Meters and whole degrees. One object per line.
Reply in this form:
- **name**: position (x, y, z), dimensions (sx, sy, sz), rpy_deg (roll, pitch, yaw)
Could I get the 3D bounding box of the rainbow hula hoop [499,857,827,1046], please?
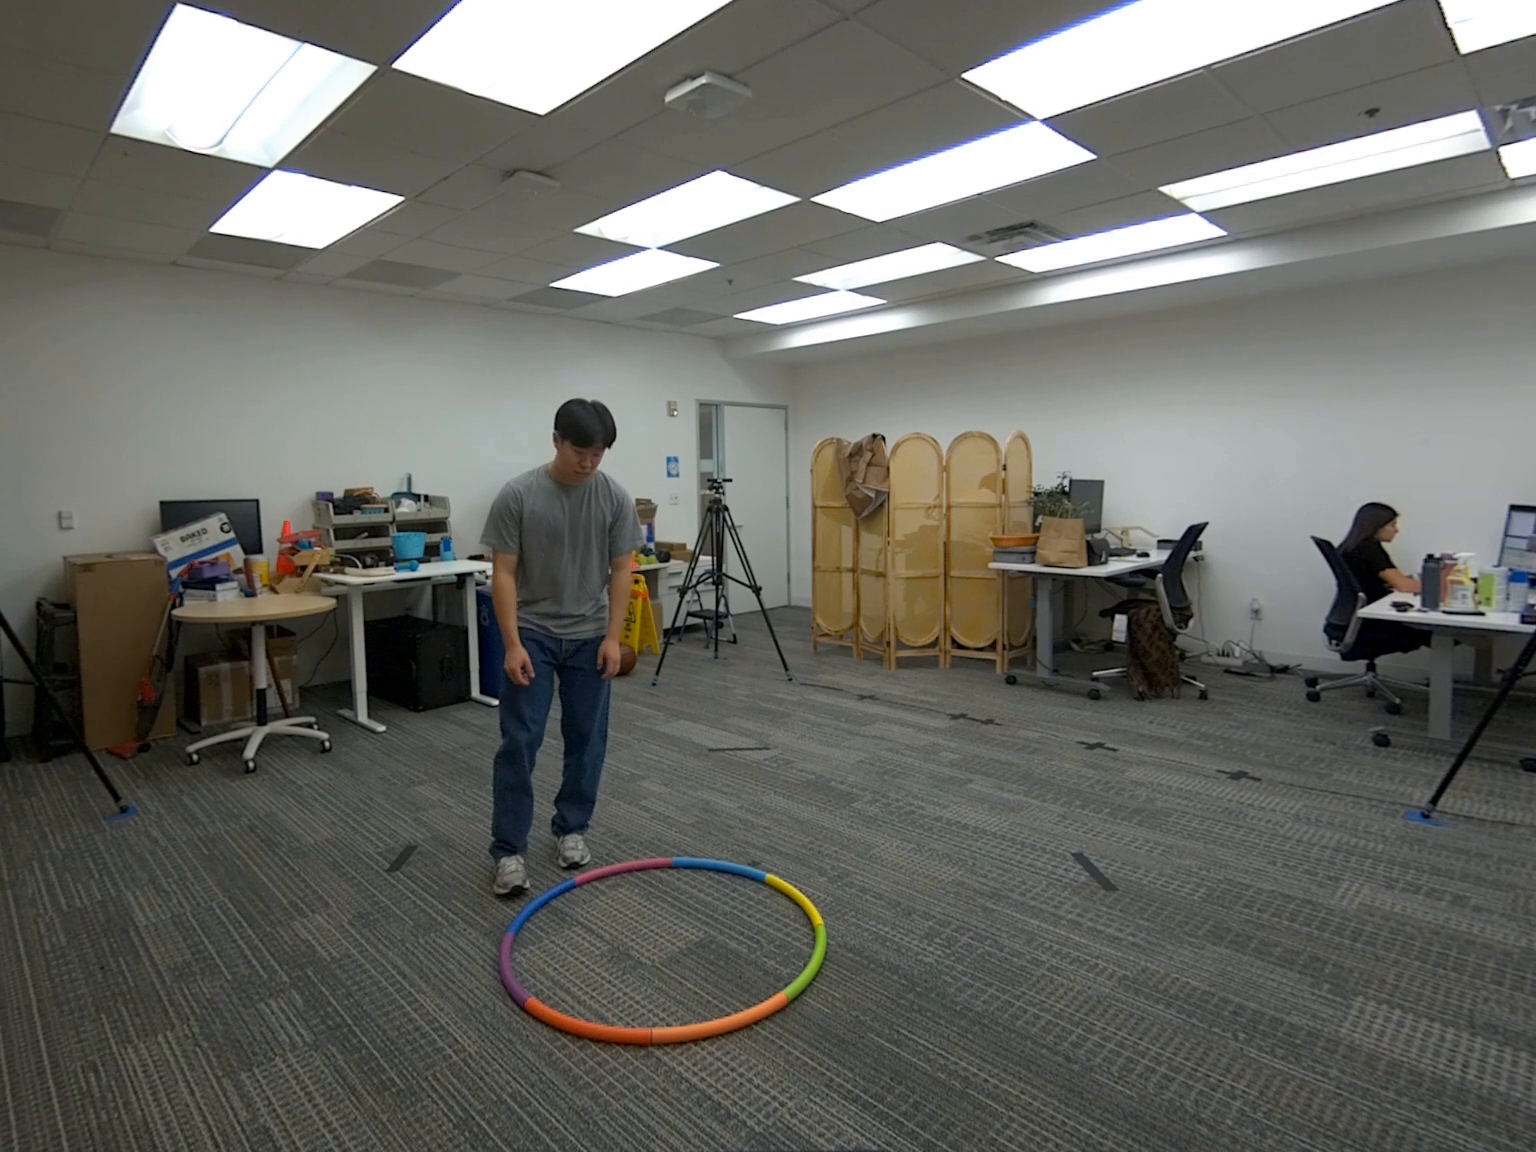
- **rainbow hula hoop**: position (-0.315, 1.079, 2.610), dimensions (0.978, 0.035, 0.984), rpy_deg (-2, 7, -2)
